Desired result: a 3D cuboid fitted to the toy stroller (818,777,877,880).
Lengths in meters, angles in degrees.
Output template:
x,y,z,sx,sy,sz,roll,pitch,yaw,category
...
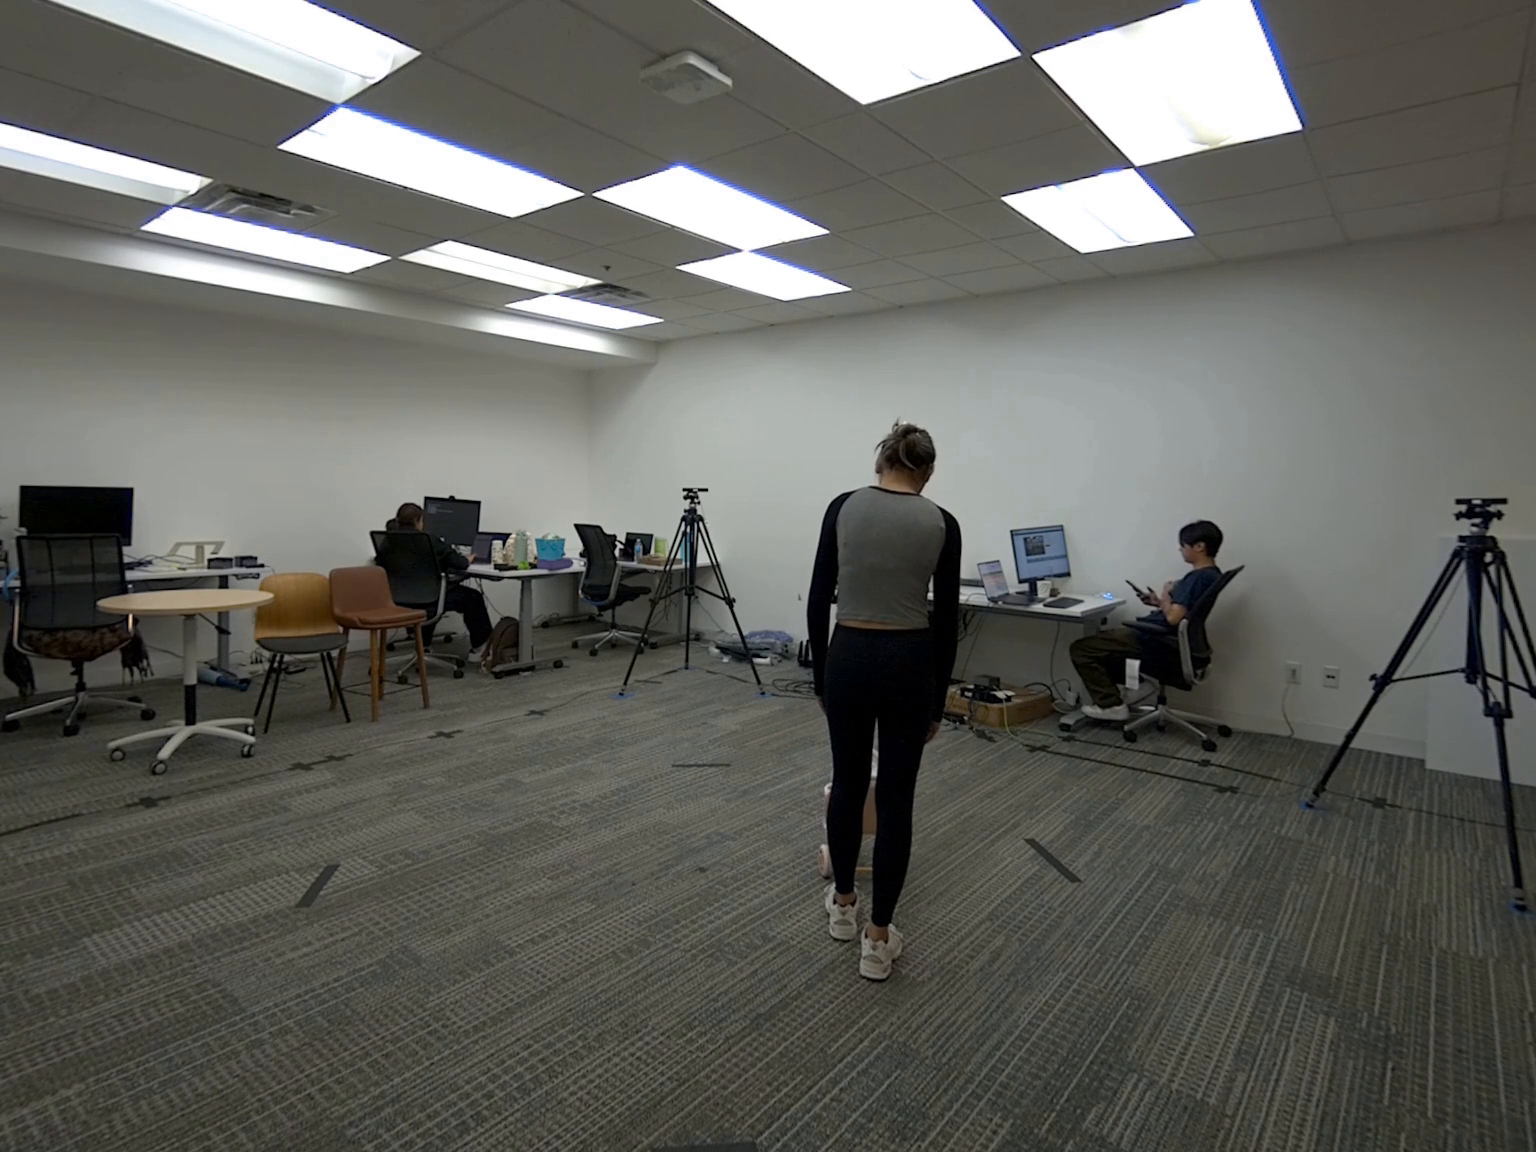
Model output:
x,y,z,sx,sy,sz,roll,pitch,yaw,category
0.324,0.853,3.142,0.281,0.526,0.348,2,20,-2,toy stroller
